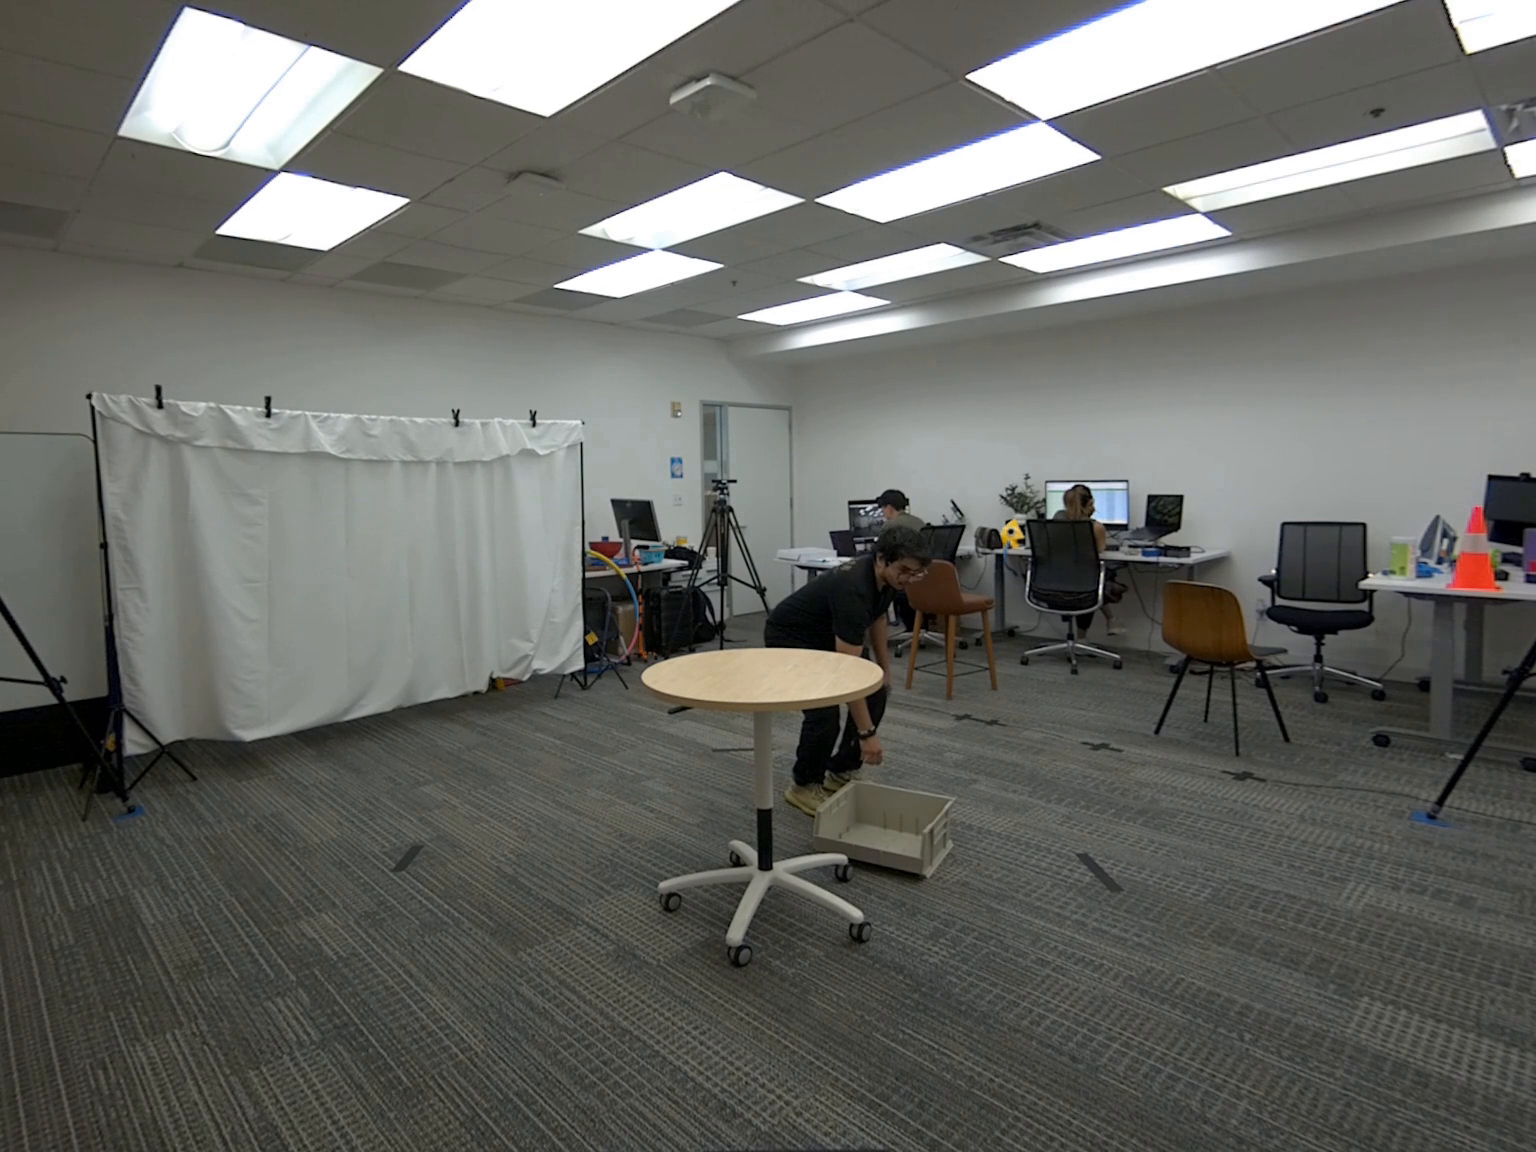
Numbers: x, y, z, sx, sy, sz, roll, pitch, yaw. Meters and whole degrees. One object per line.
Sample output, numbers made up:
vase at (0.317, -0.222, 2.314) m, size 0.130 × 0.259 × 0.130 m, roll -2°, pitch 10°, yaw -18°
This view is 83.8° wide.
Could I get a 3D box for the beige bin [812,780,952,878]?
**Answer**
beige bin at (0.439, 0.945, 3.185) m, size 0.433 × 0.188 × 0.369 m, roll 2°, pitch 6°, yaw 30°
